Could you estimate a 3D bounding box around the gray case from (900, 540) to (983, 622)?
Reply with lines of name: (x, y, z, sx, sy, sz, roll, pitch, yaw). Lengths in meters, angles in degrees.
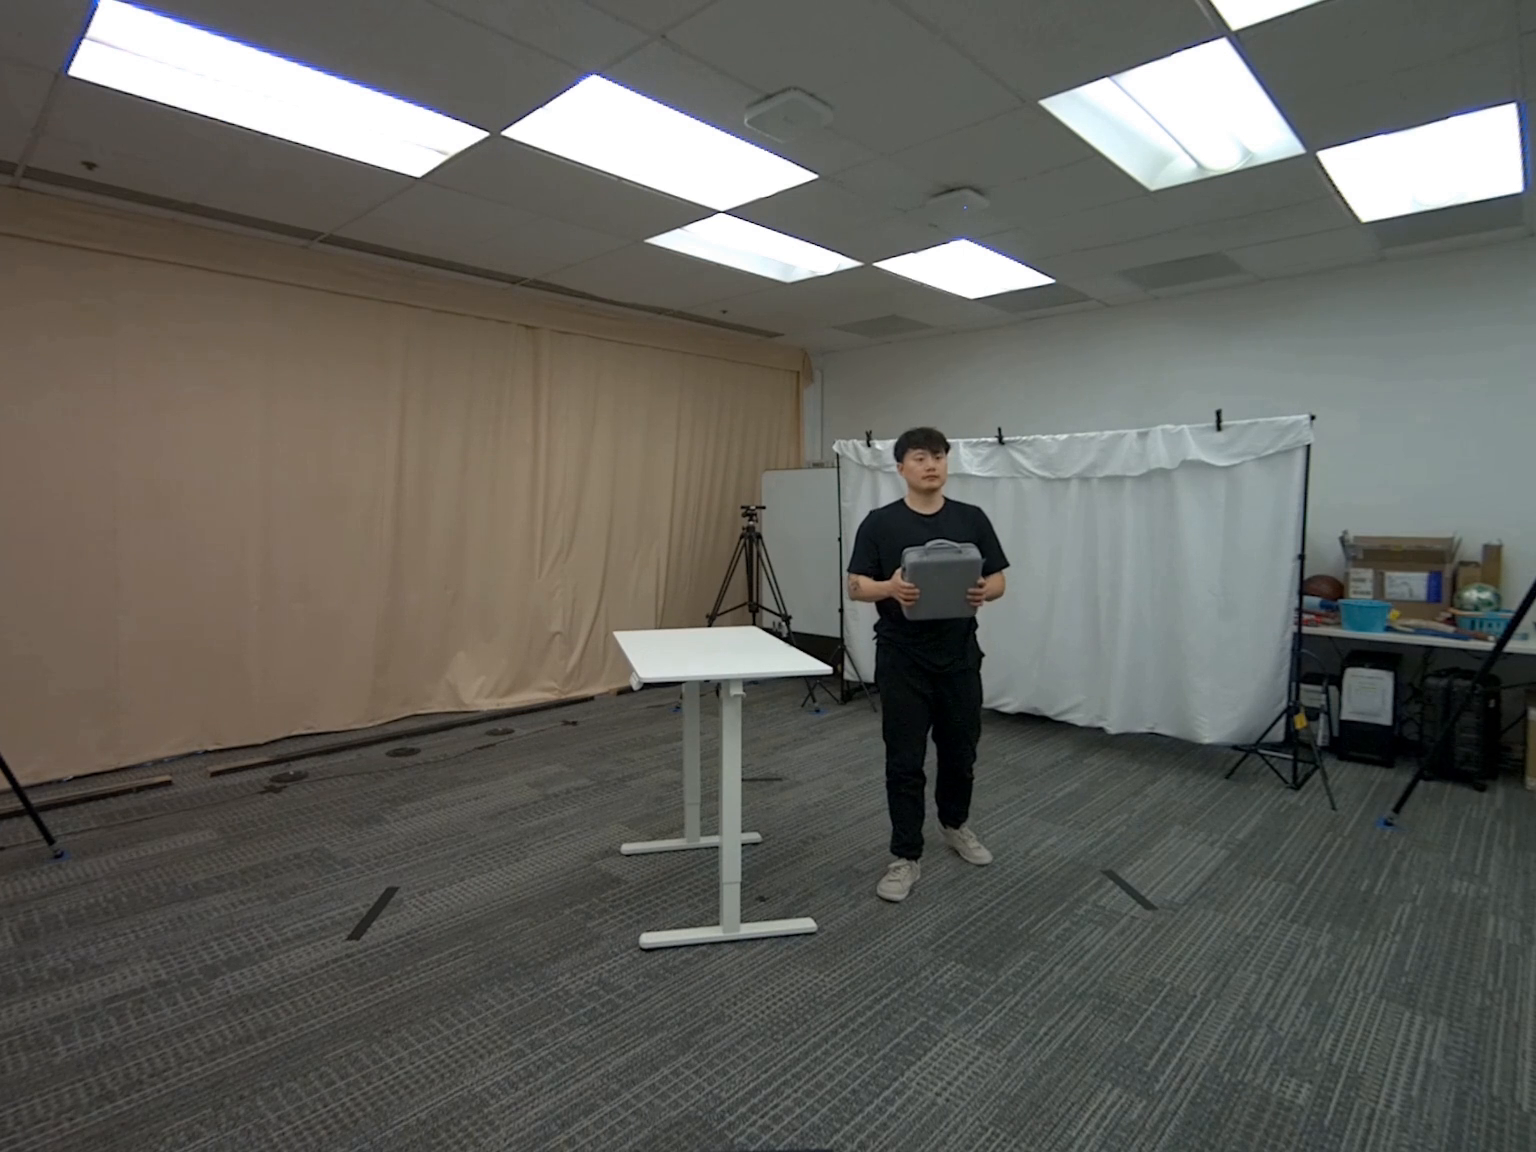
gray case: (0.593, 0.021, 2.864, 0.257, 0.256, 0.106, -3, 32, 1)
